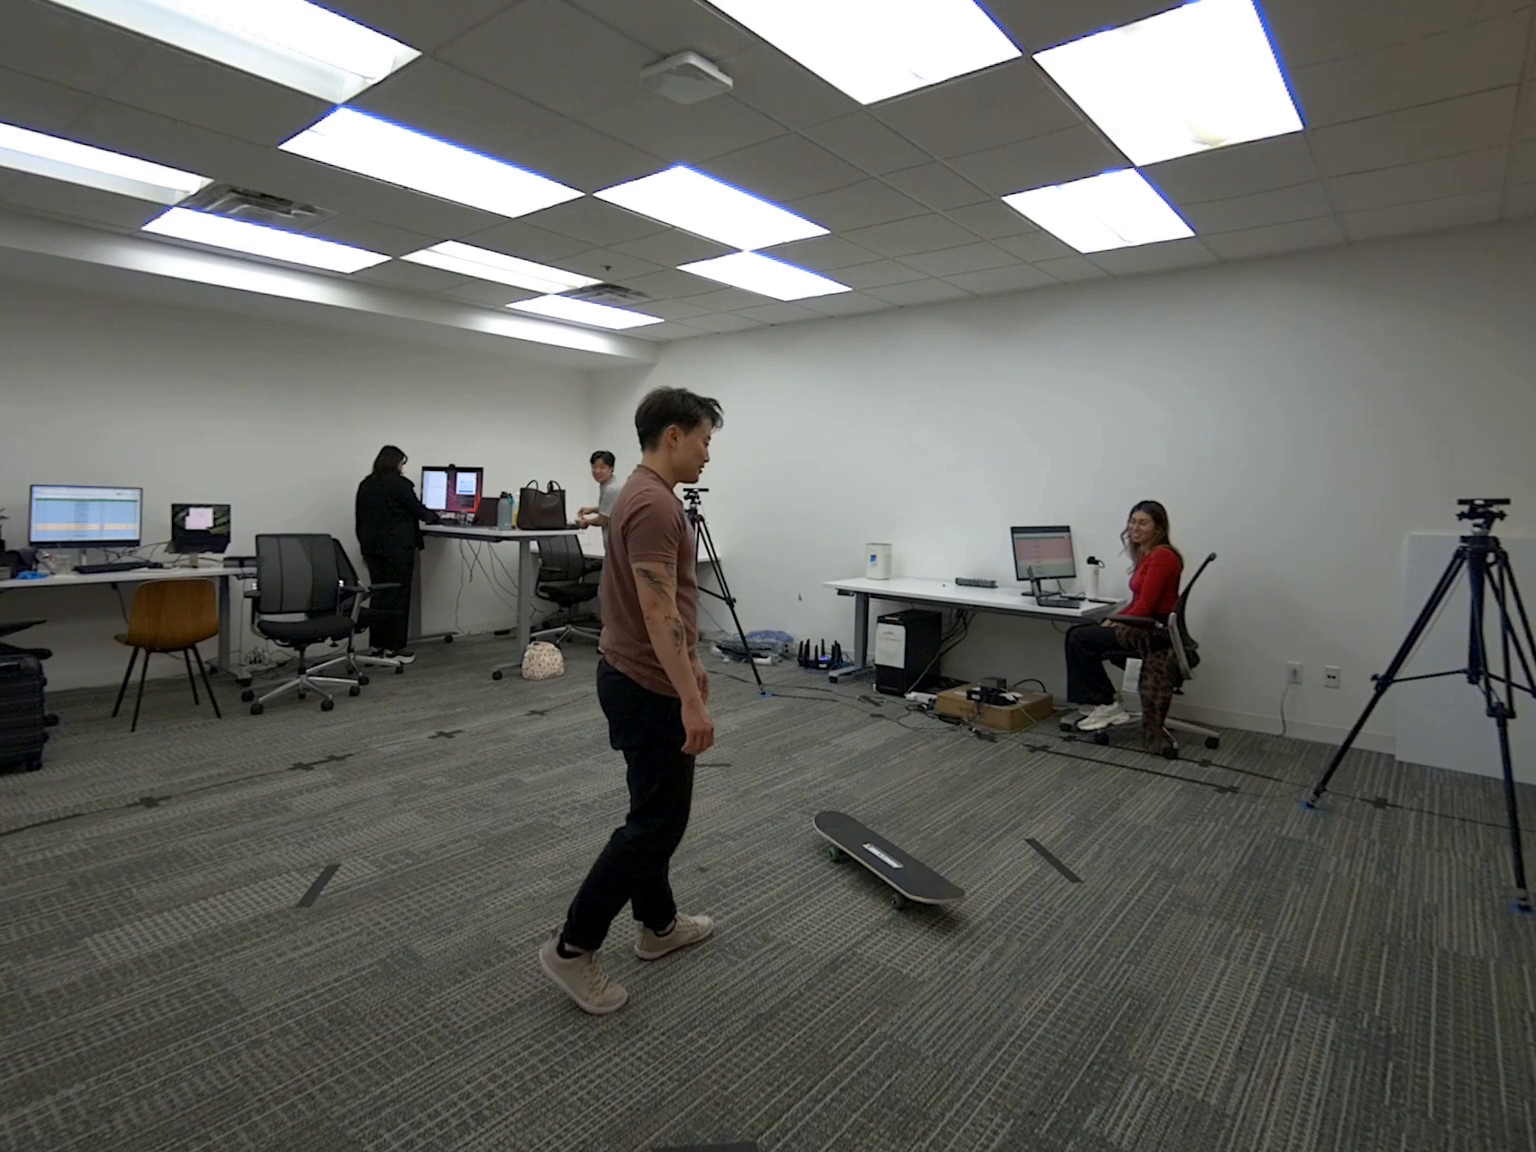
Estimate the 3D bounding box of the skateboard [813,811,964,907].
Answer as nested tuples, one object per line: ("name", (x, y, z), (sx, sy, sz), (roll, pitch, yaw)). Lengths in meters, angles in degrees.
("skateboard", (0.403, 1.032, 3.056), (0.189, 0.110, 0.808), (-1, 6, -26))
